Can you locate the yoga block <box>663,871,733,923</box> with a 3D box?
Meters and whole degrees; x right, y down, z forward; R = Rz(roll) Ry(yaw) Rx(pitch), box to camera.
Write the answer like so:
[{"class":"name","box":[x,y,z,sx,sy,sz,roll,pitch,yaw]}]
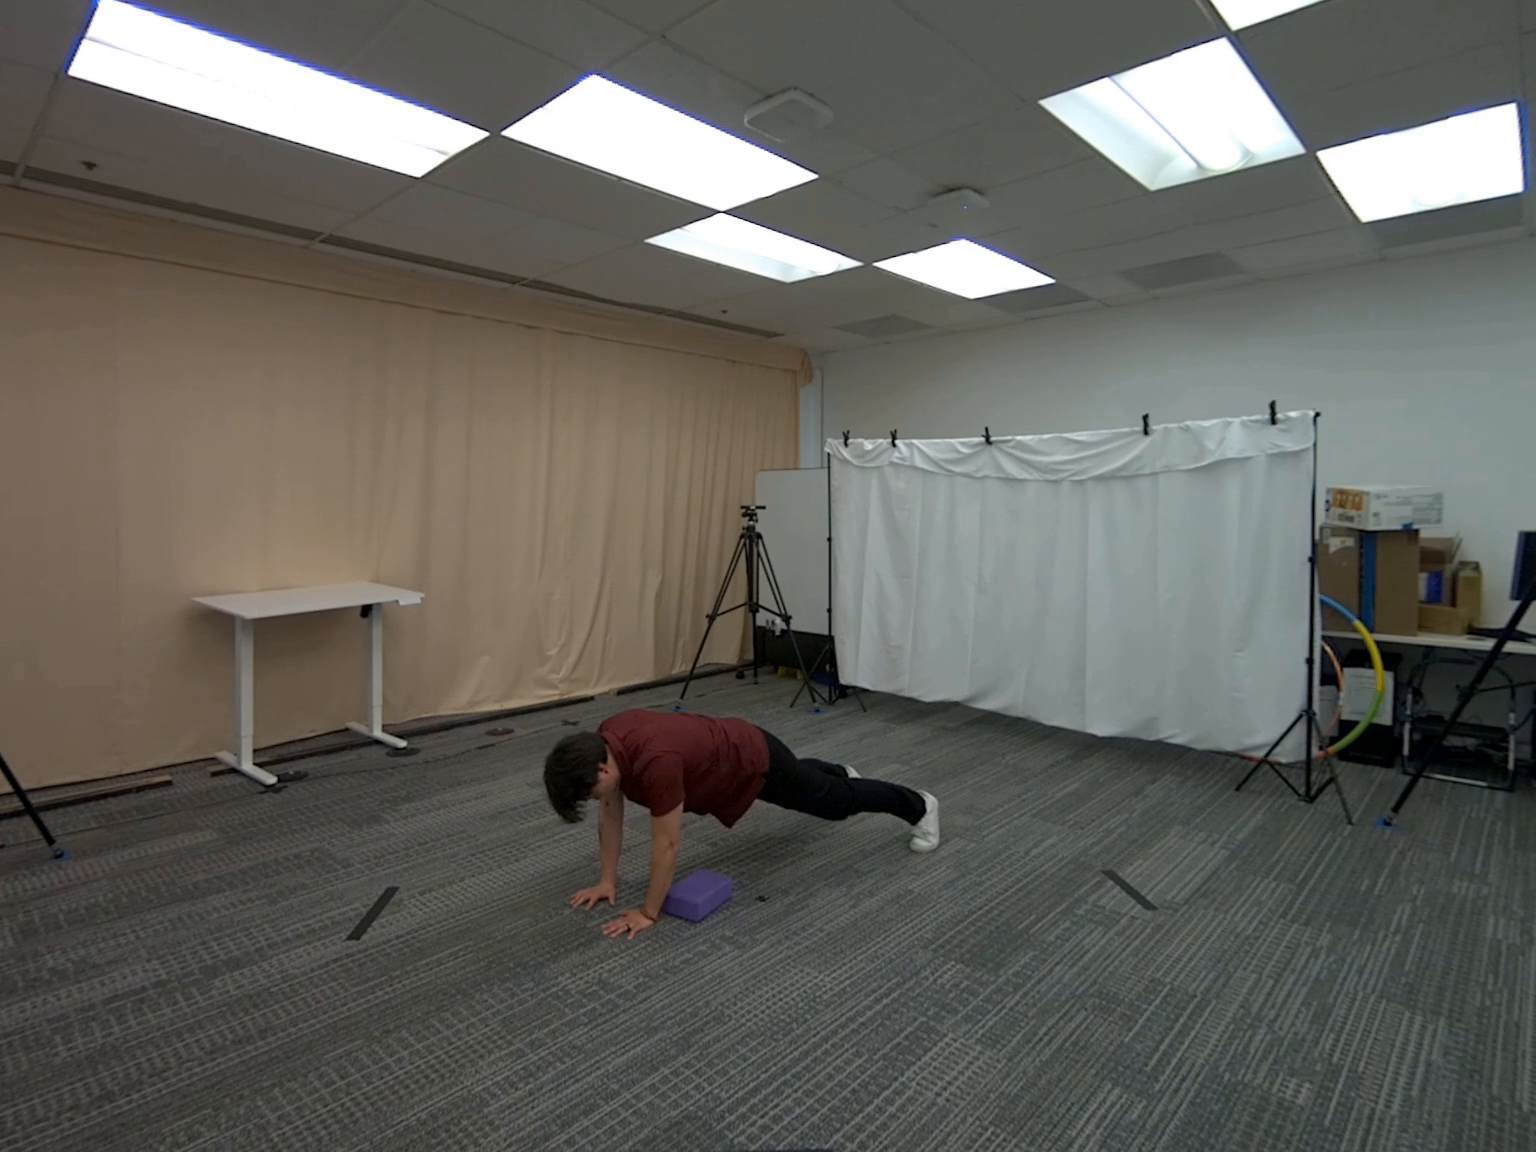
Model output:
[{"class":"yoga block","box":[-0.242,1.105,2.931,0.153,0.076,0.223,4,7,31]}]
